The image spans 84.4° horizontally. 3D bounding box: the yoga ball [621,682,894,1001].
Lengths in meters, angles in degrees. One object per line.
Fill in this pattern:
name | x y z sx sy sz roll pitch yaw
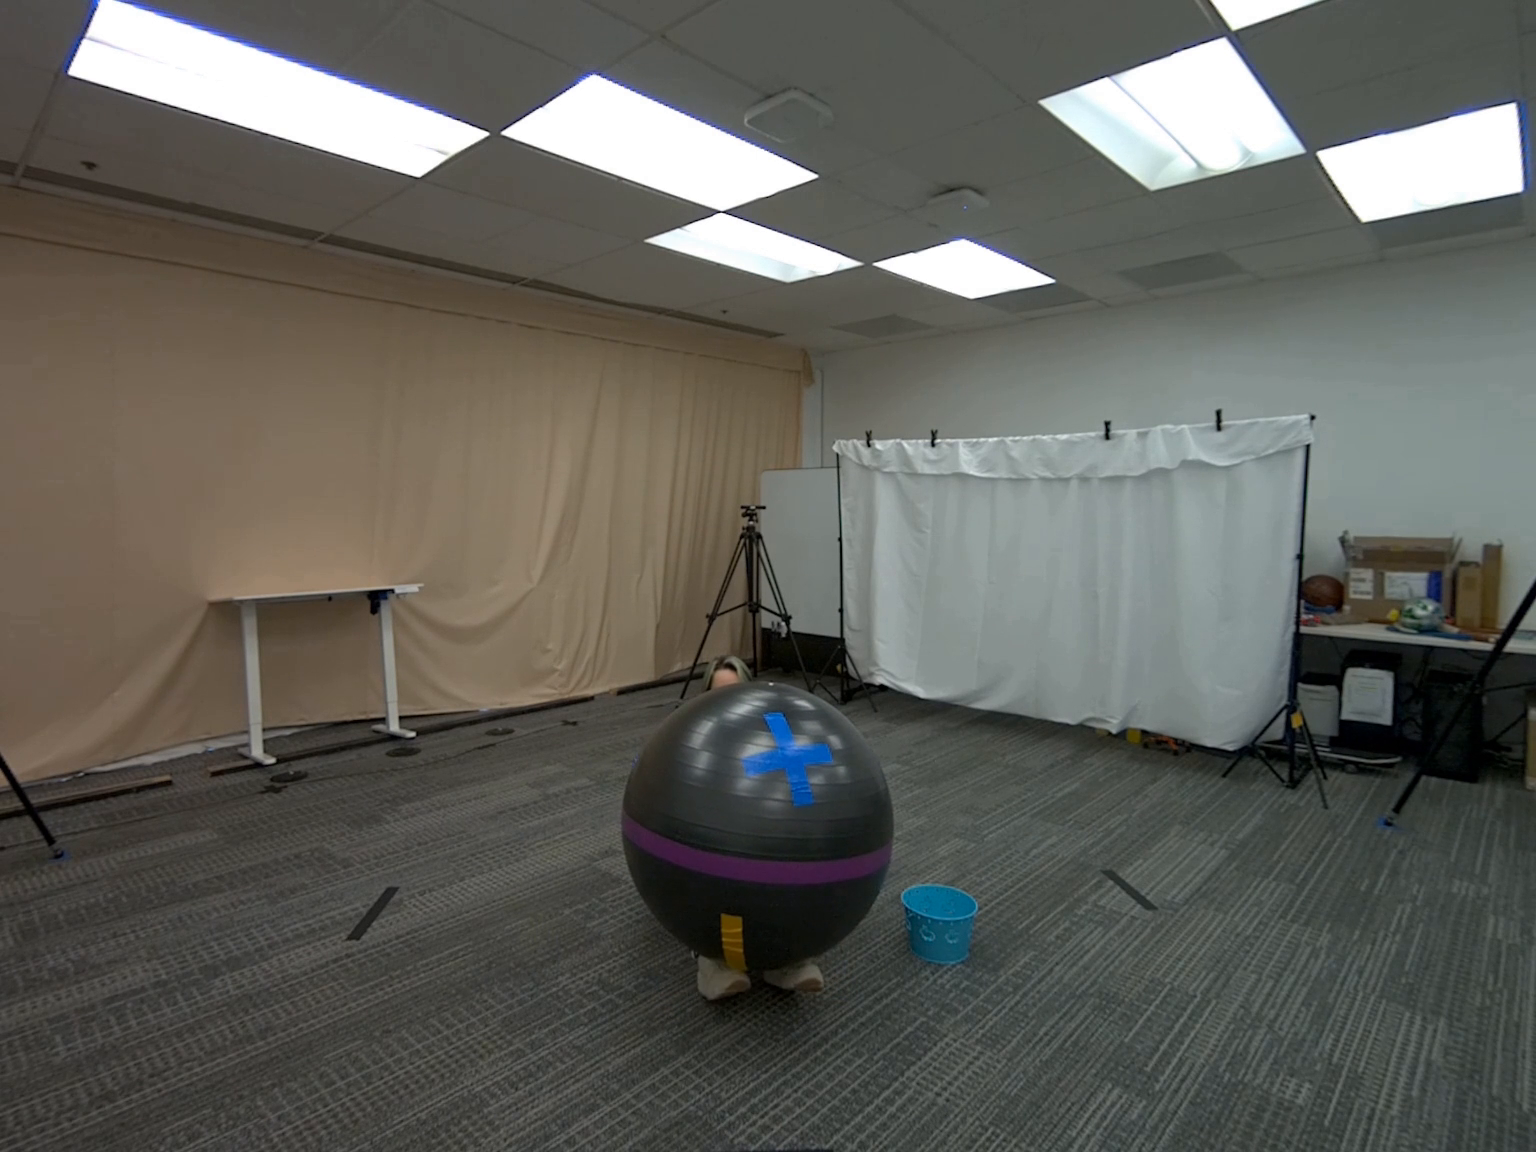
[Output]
yoga ball | -0.024 0.689 2.340 0.757 0.756 0.761 0 4 -2
